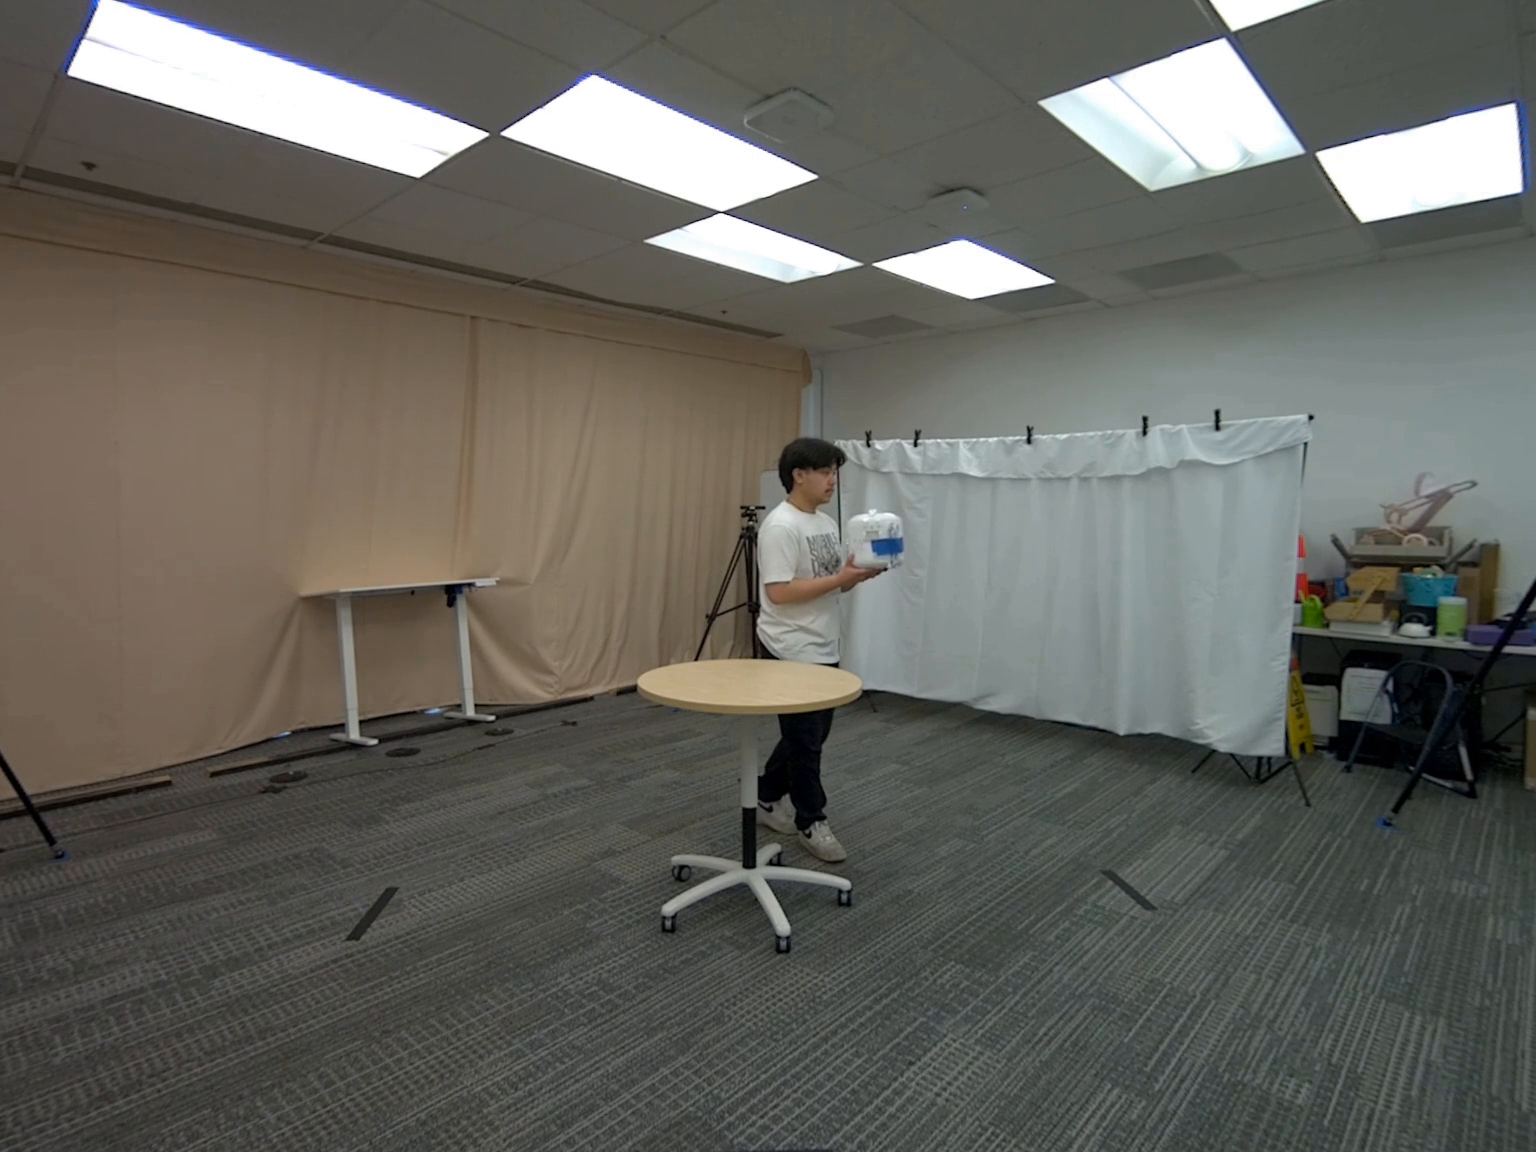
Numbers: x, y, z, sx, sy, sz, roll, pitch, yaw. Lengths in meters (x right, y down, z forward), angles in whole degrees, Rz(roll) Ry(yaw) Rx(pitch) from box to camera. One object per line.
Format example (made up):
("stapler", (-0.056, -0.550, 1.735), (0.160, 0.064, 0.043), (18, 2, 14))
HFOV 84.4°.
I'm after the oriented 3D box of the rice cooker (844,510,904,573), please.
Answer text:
("rice cooker", (0.416, -0.144, 3.254), (0.221, 0.233, 0.217), (-2, -2, 14))
